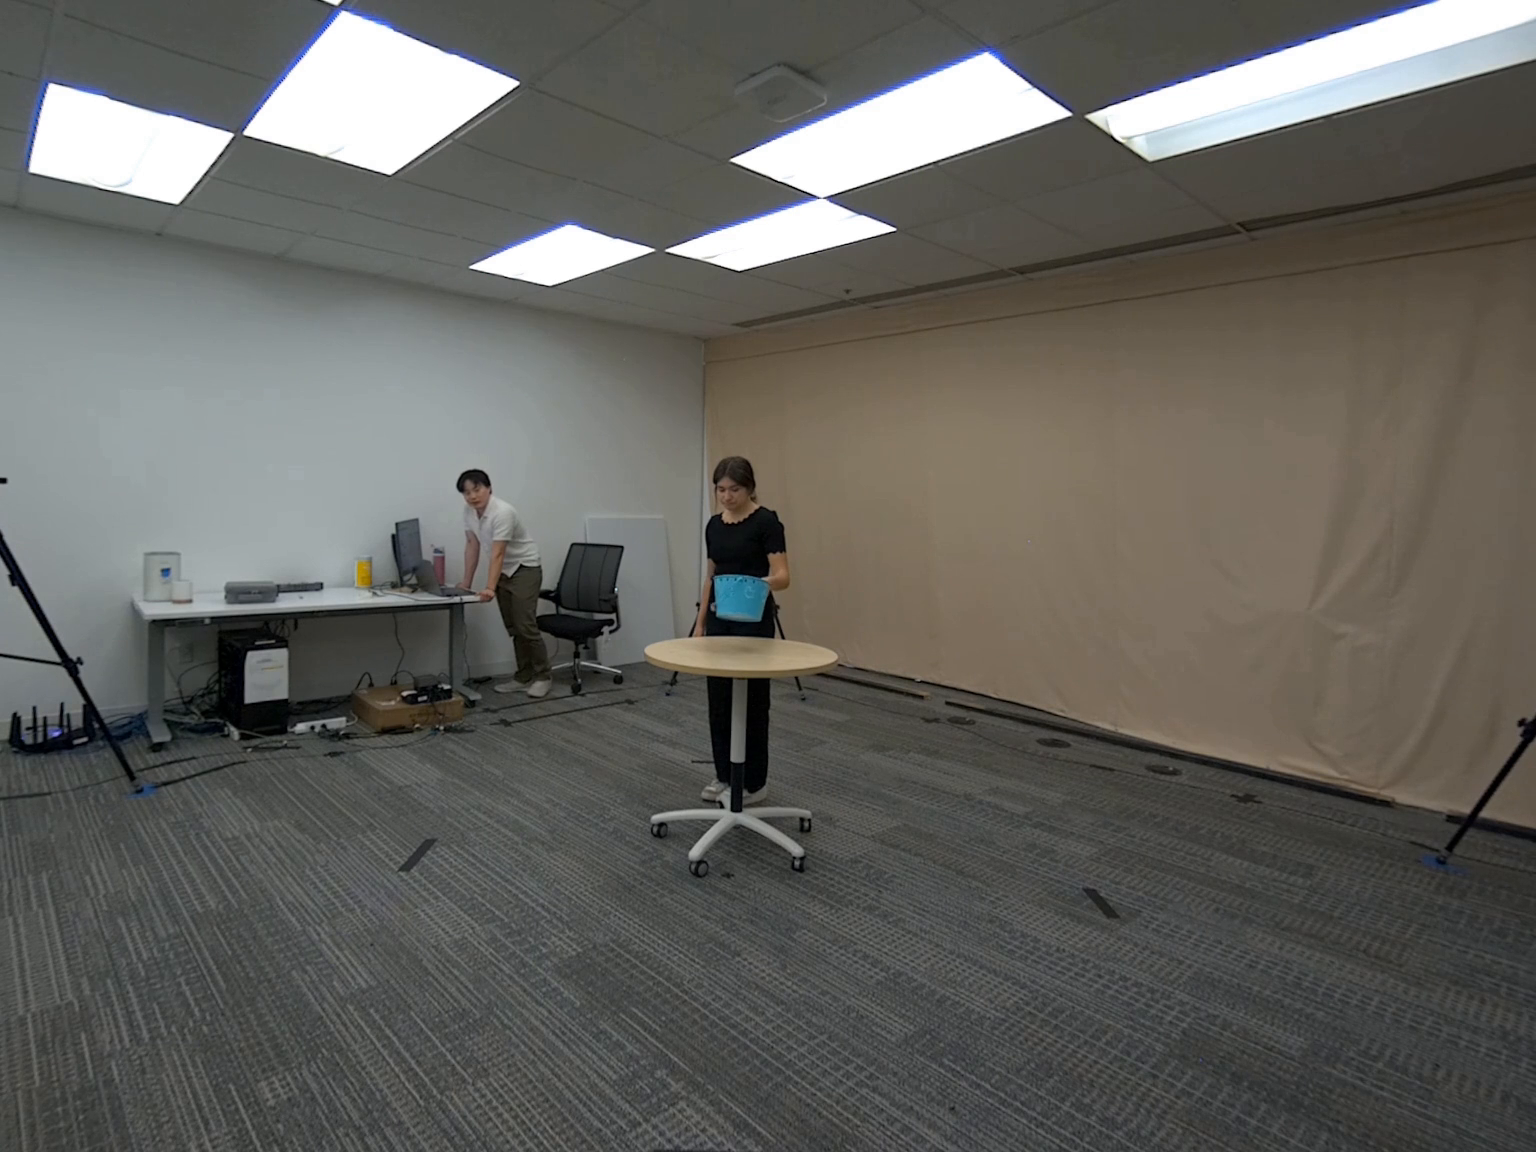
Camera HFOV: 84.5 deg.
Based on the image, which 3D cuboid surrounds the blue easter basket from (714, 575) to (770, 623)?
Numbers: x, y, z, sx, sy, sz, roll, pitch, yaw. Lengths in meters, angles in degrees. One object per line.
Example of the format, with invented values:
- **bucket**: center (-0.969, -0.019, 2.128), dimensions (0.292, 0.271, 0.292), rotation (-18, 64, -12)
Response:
- **blue easter basket**: center (-0.126, 0.099, 3.387), dimensions (0.244, 0.157, 0.242), rotation (6, -10, 0)
